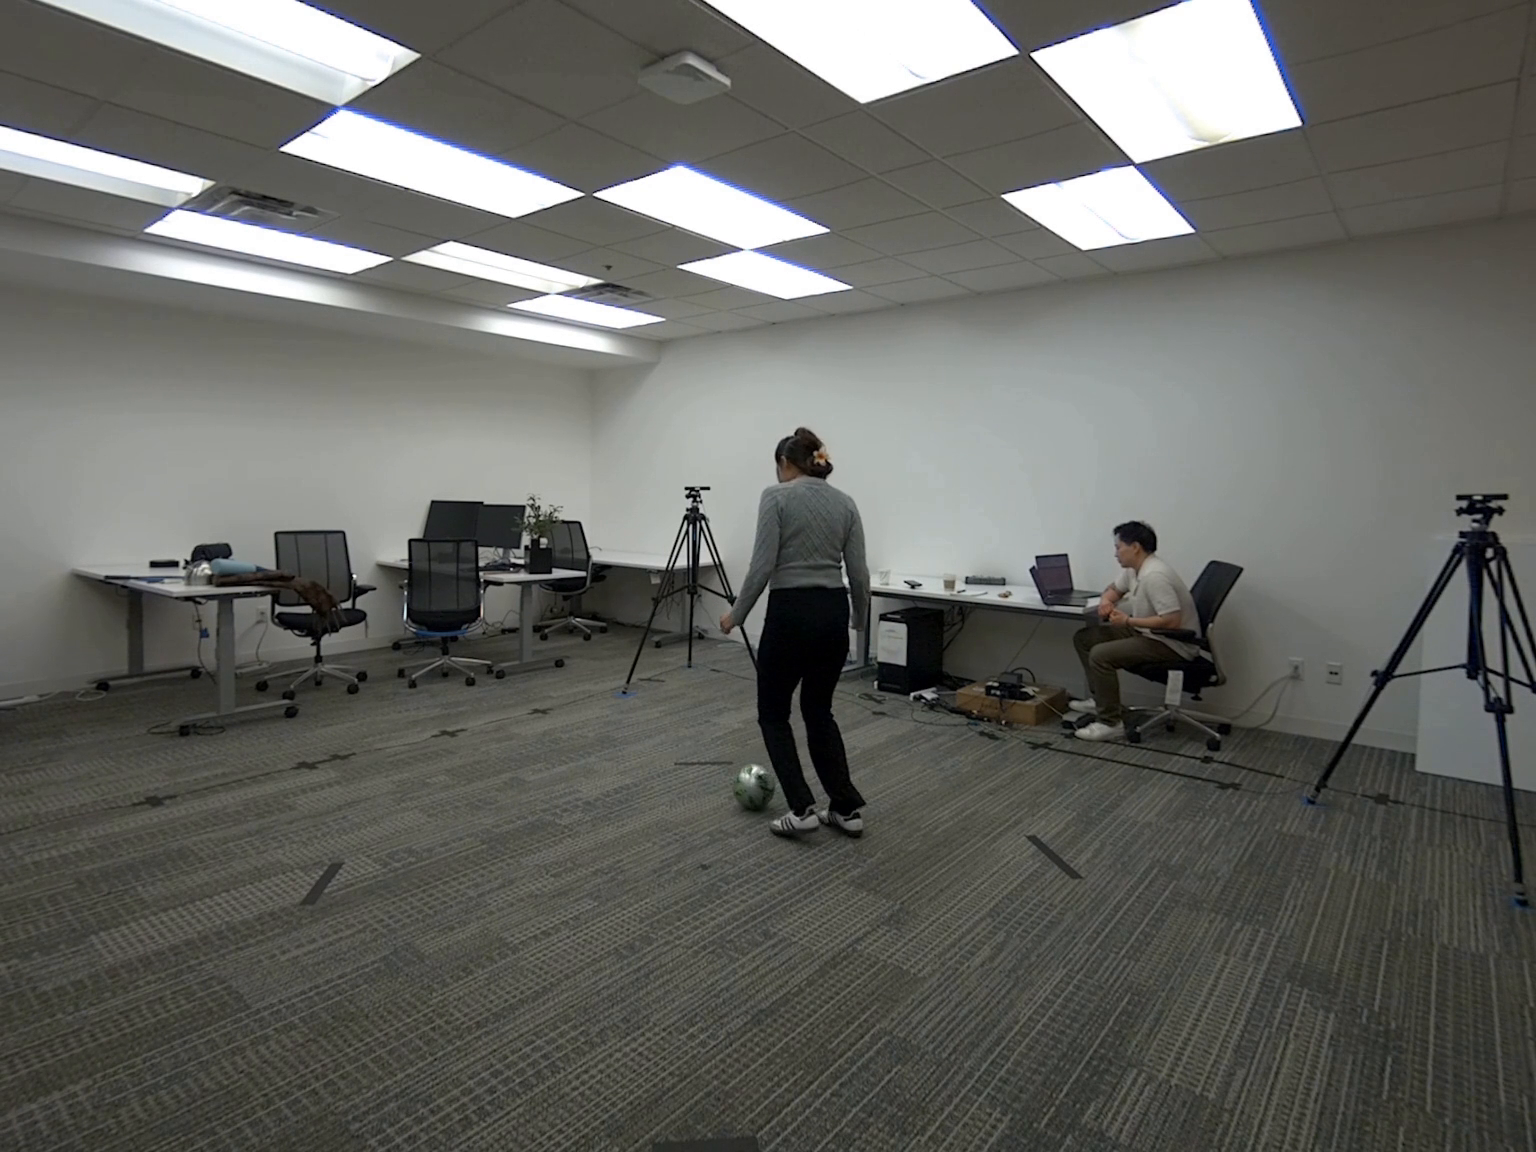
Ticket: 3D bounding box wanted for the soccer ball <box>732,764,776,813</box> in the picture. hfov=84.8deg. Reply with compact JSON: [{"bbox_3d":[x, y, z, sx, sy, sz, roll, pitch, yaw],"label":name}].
[{"bbox_3d":[-0.071,0.914,3.703,0.187,0.187,0.188,1,4,-2],"label":"soccer ball"}]
